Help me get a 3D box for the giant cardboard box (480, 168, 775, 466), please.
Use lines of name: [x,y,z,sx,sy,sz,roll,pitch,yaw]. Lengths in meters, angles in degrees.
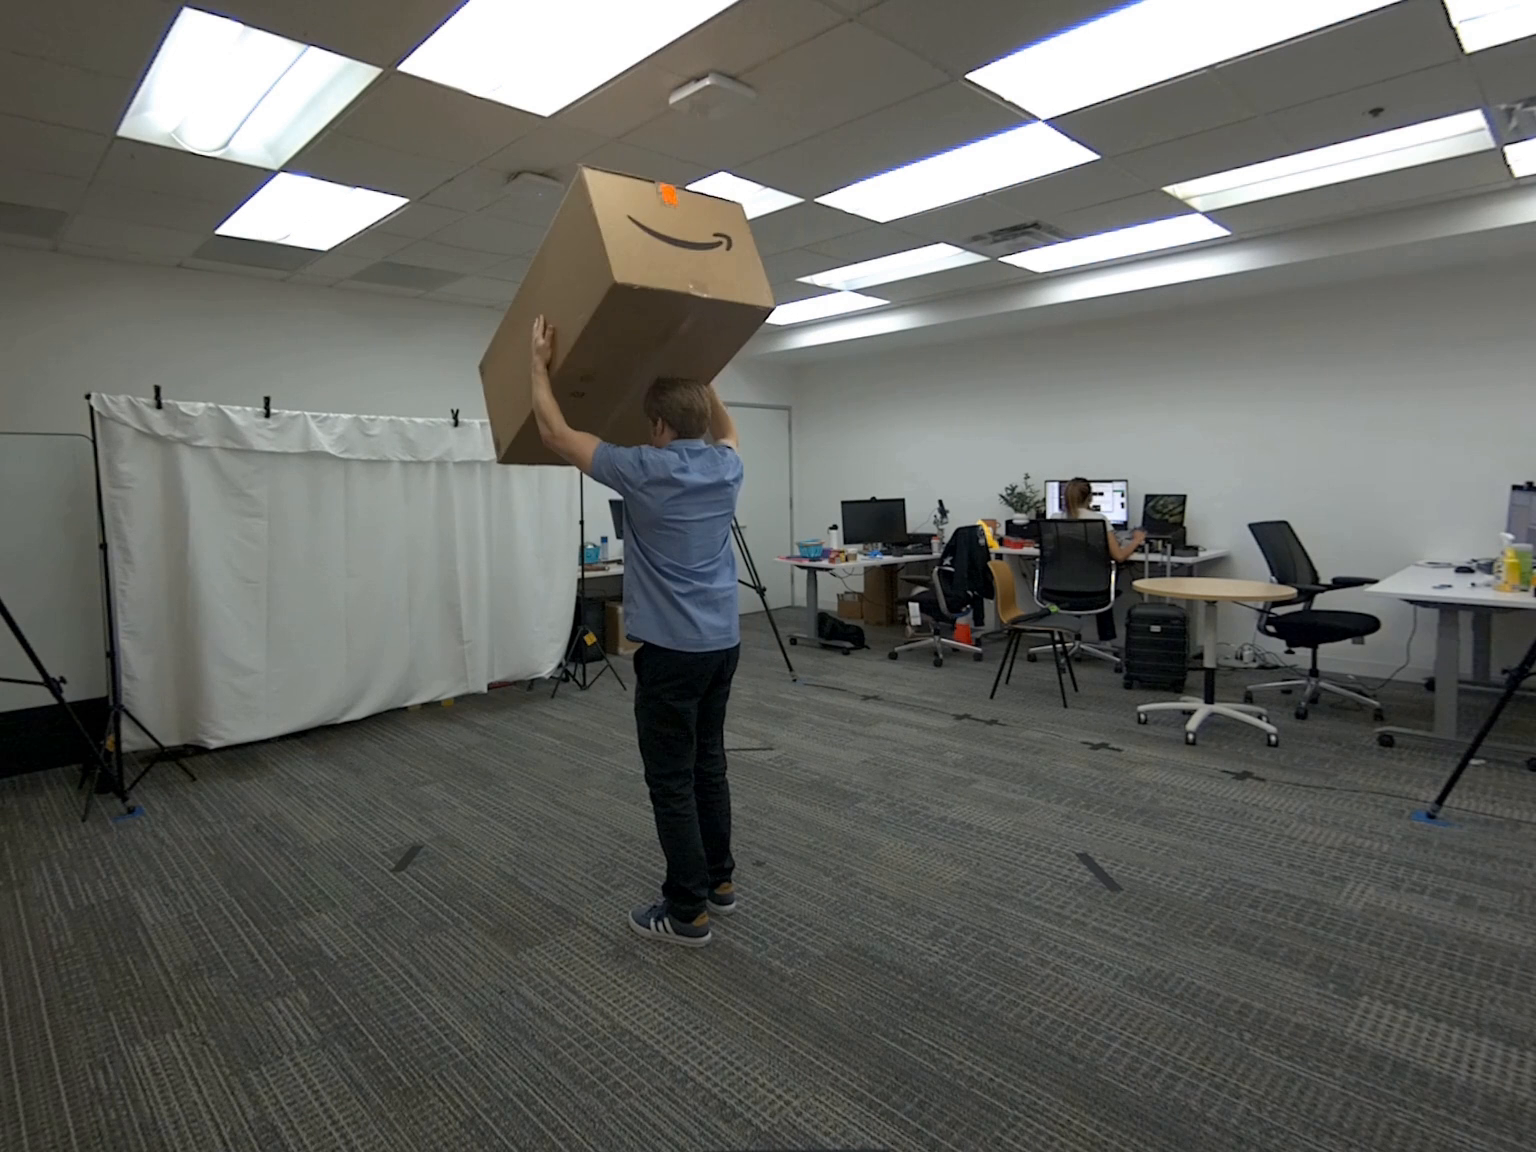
giant cardboard box: [-0.532,-0.795,2.925,0.562,0.435,1.032,-3,-21,-37]
